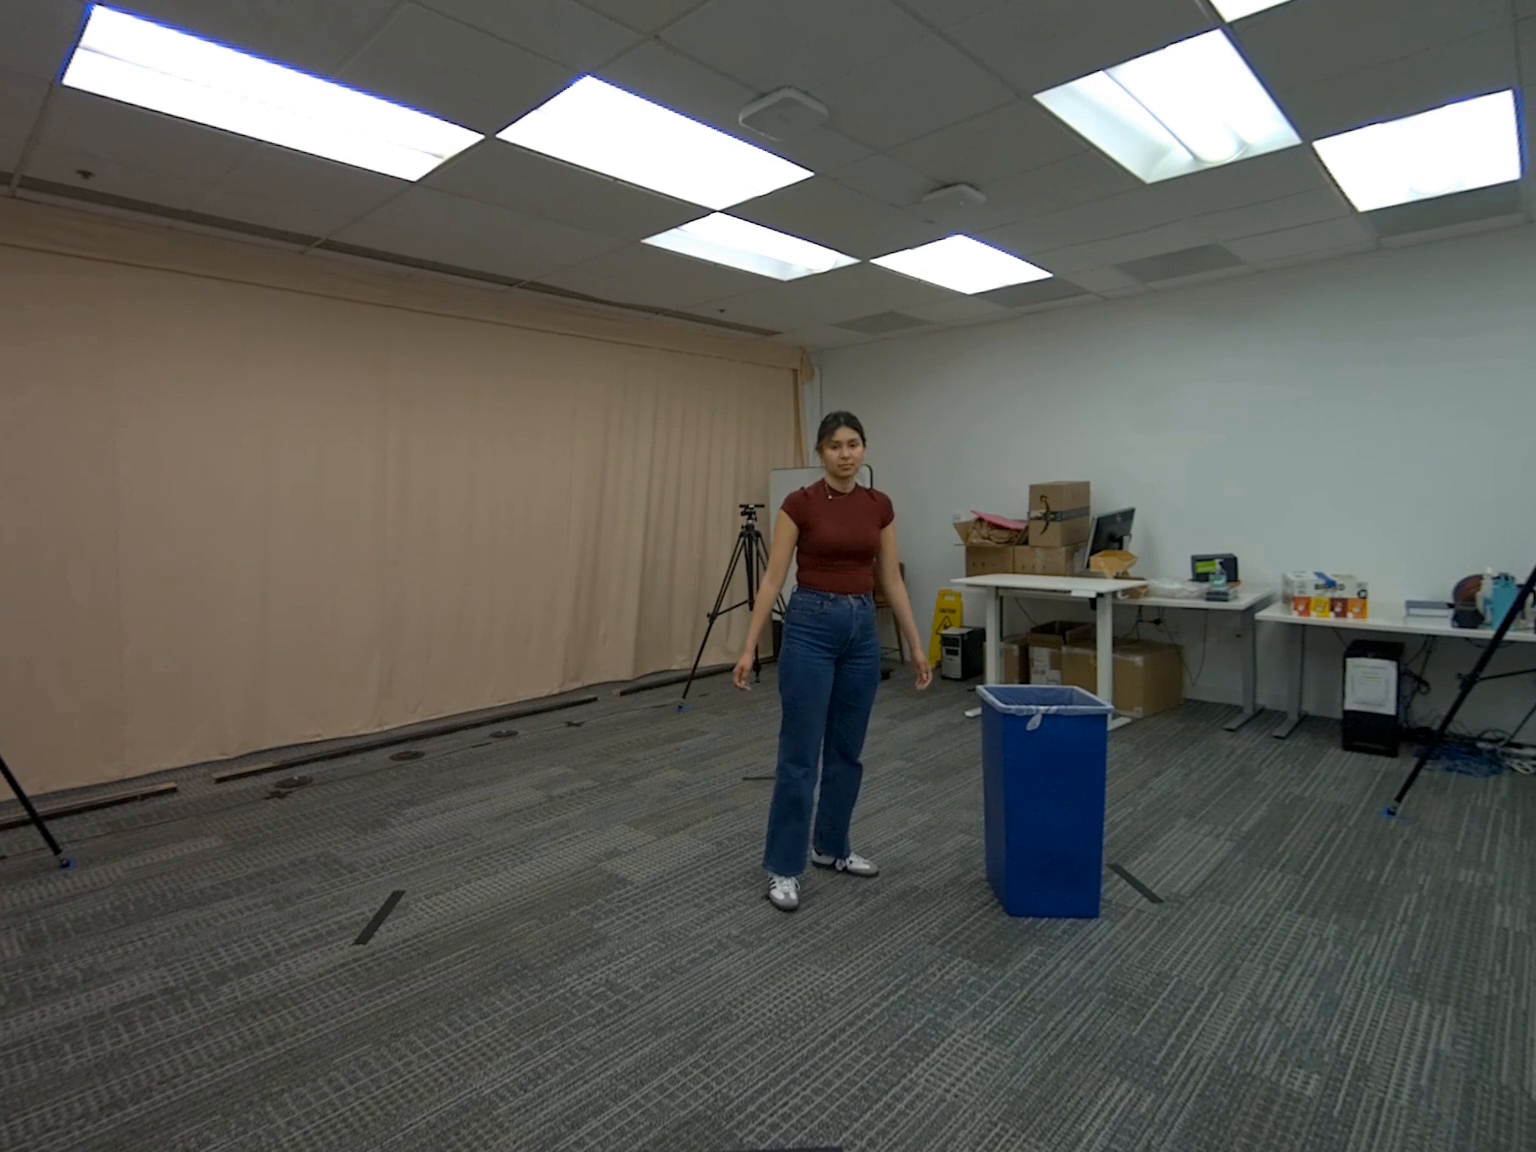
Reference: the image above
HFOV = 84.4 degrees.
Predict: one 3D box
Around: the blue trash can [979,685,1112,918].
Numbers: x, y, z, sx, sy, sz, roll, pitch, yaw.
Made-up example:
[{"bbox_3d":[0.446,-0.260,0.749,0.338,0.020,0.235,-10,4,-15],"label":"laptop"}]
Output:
[{"bbox_3d":[0.957,0.772,2.939,0.379,0.712,0.374,0,3,1],"label":"blue trash can"}]
